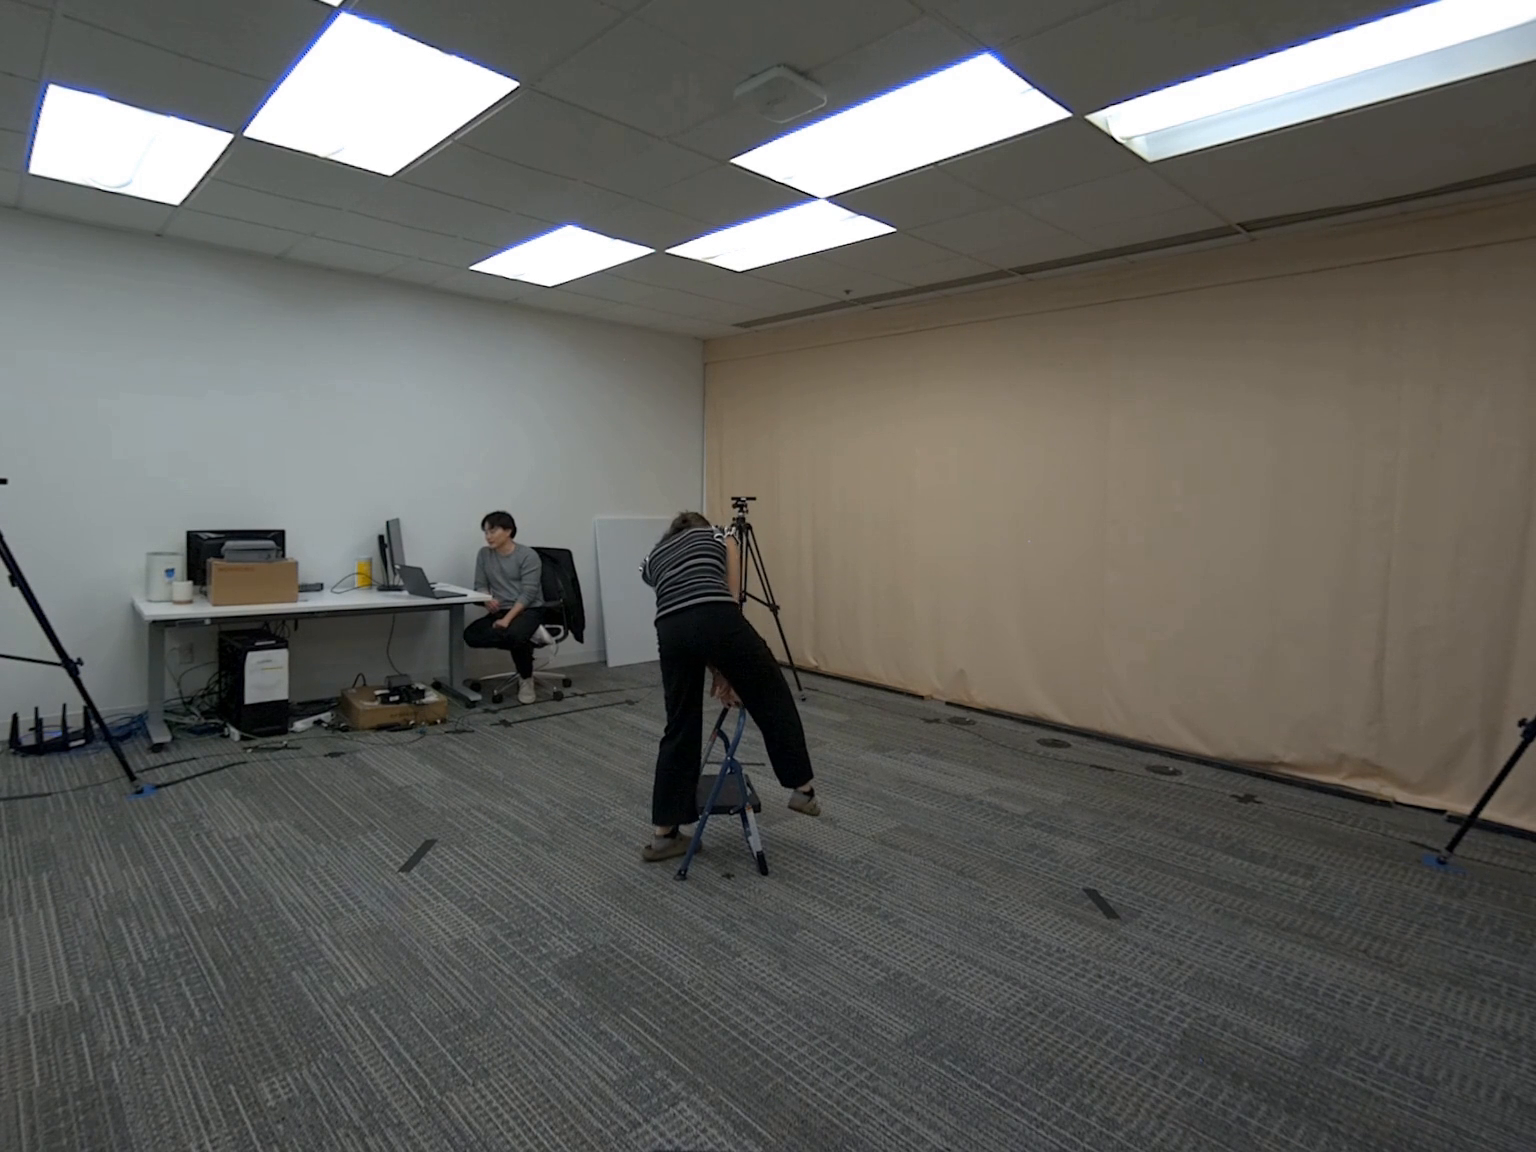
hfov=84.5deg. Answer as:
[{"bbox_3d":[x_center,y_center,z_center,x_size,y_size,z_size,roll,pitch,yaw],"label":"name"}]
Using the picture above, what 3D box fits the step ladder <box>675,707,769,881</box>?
[{"bbox_3d":[-0.200,0.791,3.276,0.346,0.605,0.435,1,3,-10],"label":"step ladder"}]
